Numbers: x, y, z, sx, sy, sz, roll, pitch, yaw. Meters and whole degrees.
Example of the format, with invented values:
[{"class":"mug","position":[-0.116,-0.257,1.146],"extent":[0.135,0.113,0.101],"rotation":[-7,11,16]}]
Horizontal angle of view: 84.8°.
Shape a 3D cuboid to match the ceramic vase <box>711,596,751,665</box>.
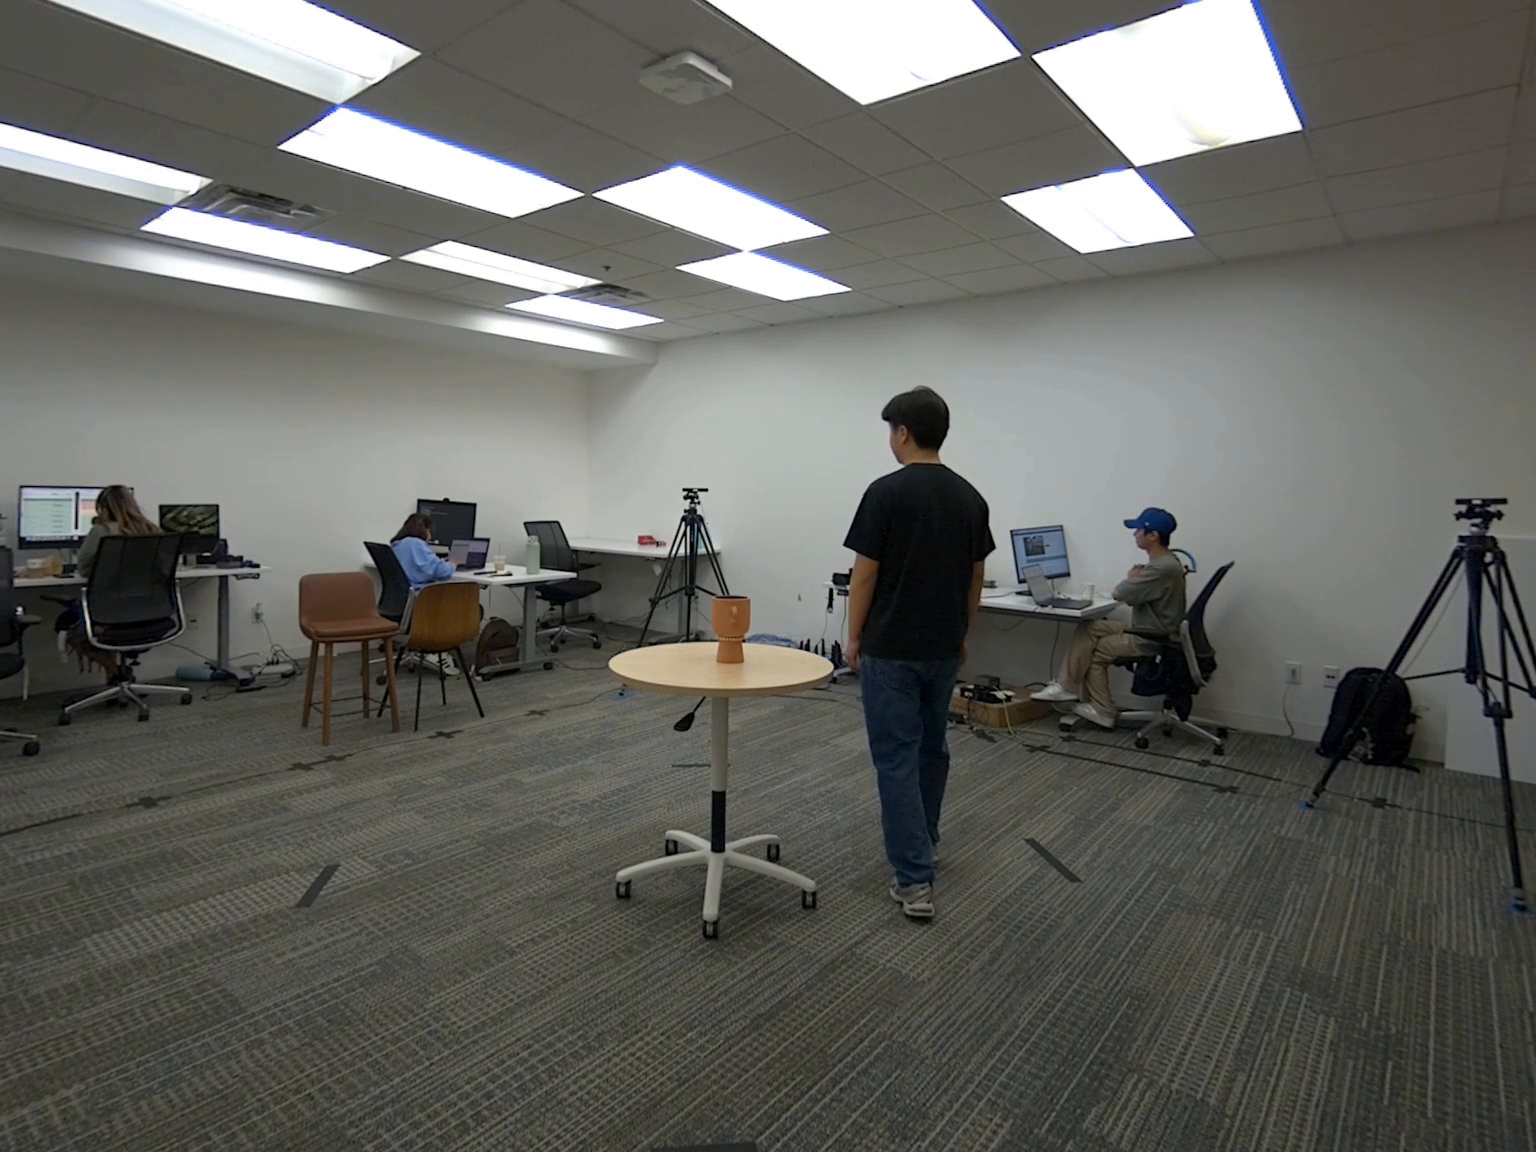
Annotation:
[{"class":"ceramic vase","position":[-0.135,0.181,2.940],"extent":[0.138,0.219,0.155],"rotation":[2,3,28]}]
